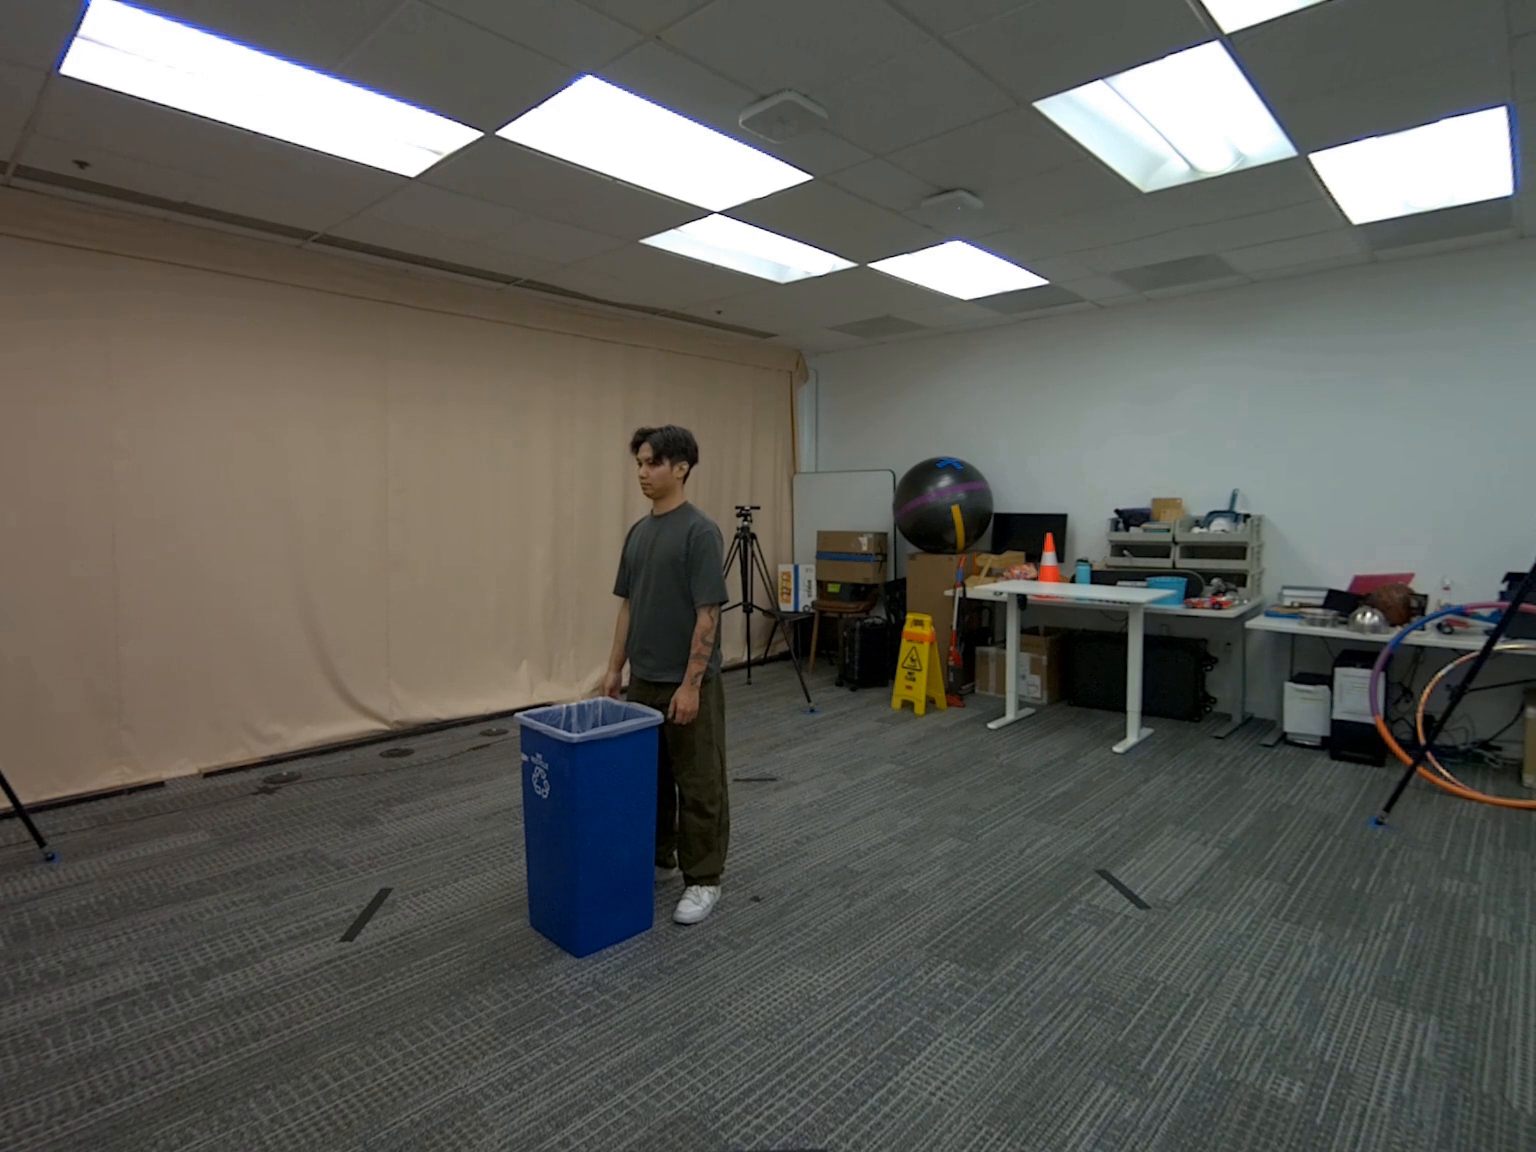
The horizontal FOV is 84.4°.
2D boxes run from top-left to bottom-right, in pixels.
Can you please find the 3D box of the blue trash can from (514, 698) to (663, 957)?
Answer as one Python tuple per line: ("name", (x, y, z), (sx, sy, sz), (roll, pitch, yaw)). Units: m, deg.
("blue trash can", (-0.582, 0.808, 2.777), (0.366, 0.712, 0.386), (-4, 5, -45))
